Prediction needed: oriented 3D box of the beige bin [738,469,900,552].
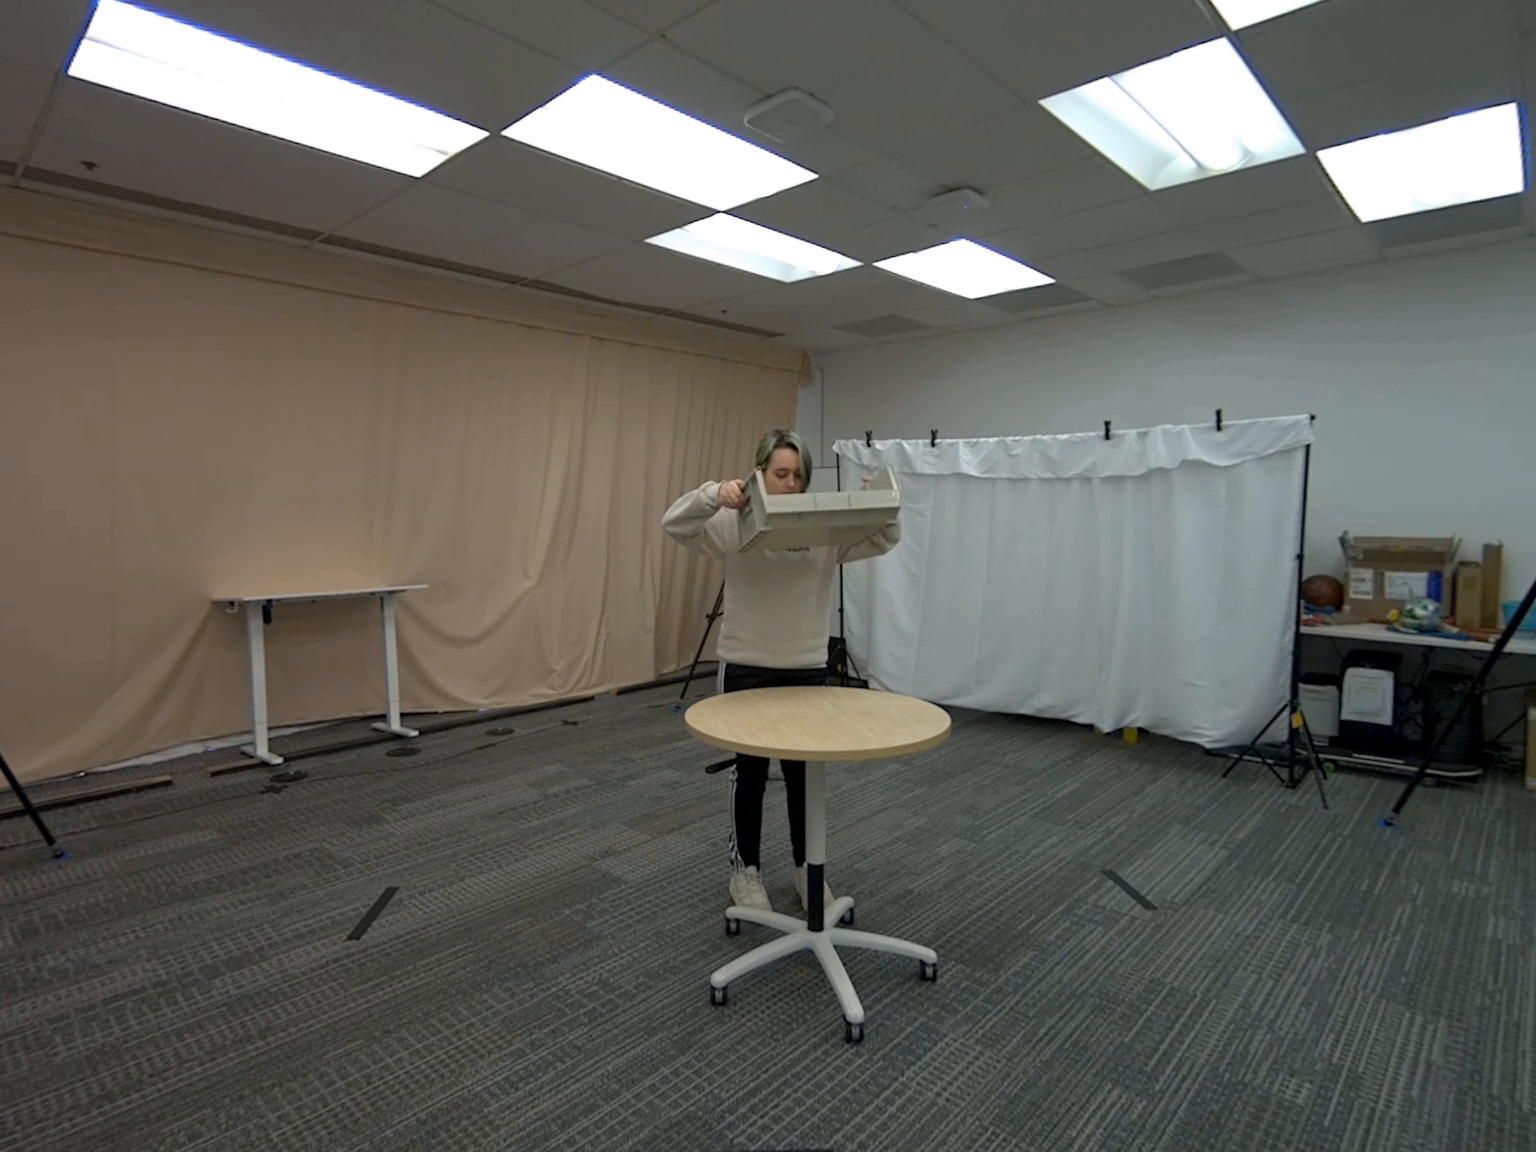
[{"bbox_3d":[0.134,-0.196,2.546,0.416,0.190,0.380,-5,-10,-15],"label":"beige bin"}]
